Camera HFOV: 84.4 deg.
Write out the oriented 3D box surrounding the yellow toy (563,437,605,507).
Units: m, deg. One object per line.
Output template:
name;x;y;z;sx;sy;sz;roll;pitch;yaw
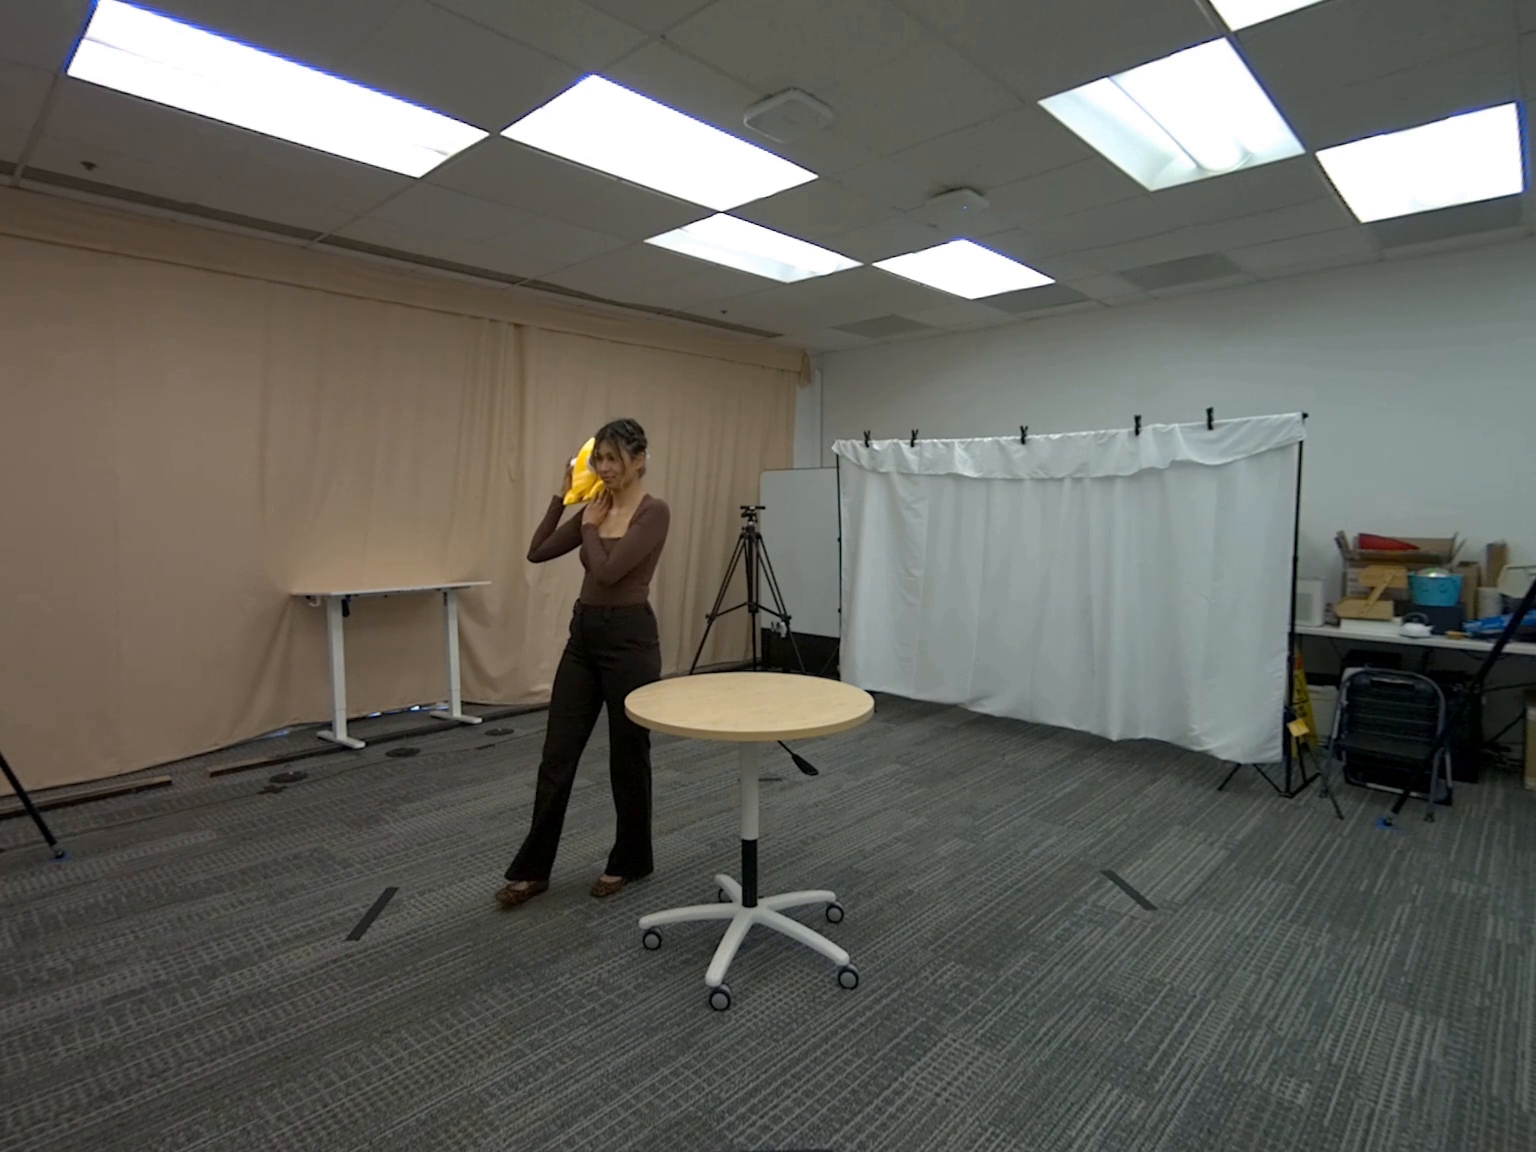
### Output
yellow toy;-0.673;-0.398;3.128;0.210;0.230;0.188;-9;5;36
